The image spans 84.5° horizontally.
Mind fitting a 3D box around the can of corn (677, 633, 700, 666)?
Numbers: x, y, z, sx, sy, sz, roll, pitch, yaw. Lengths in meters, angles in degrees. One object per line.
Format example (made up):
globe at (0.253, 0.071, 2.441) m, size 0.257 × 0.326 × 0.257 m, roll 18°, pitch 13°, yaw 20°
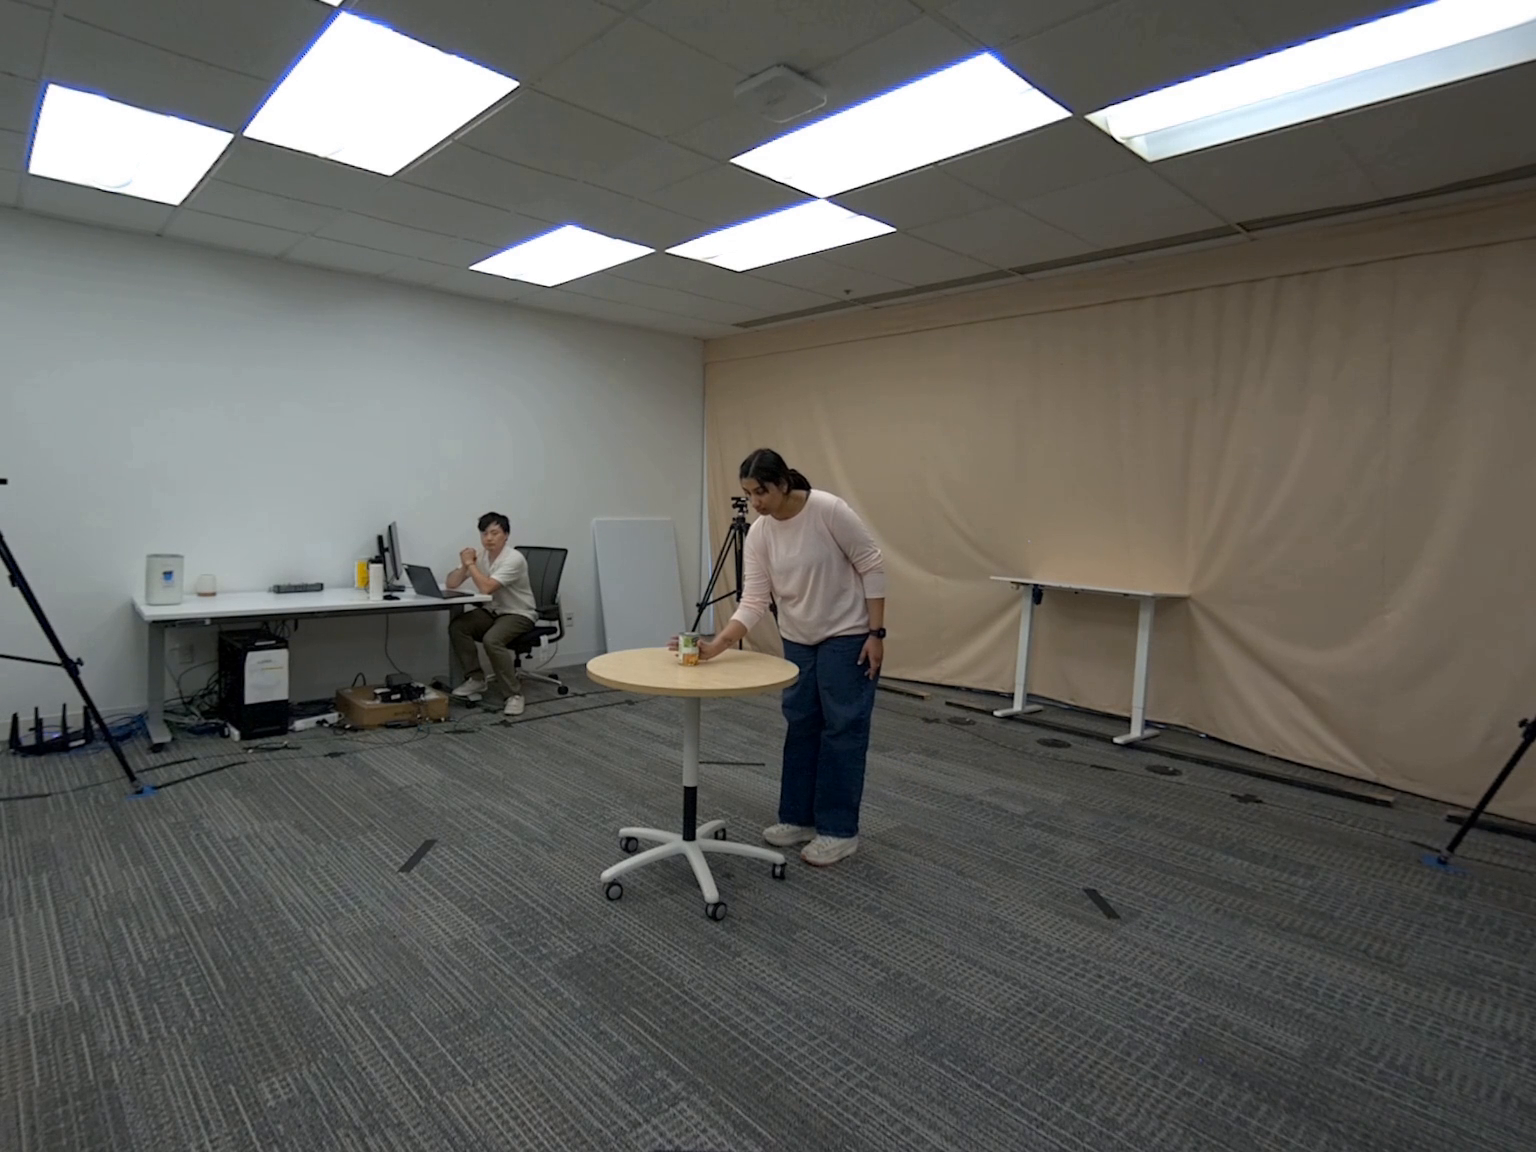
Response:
can of corn at (-0.297, 0.268, 3.063) m, size 0.074 × 0.111 × 0.074 m, roll 0°, pitch 0°, yaw -1°
